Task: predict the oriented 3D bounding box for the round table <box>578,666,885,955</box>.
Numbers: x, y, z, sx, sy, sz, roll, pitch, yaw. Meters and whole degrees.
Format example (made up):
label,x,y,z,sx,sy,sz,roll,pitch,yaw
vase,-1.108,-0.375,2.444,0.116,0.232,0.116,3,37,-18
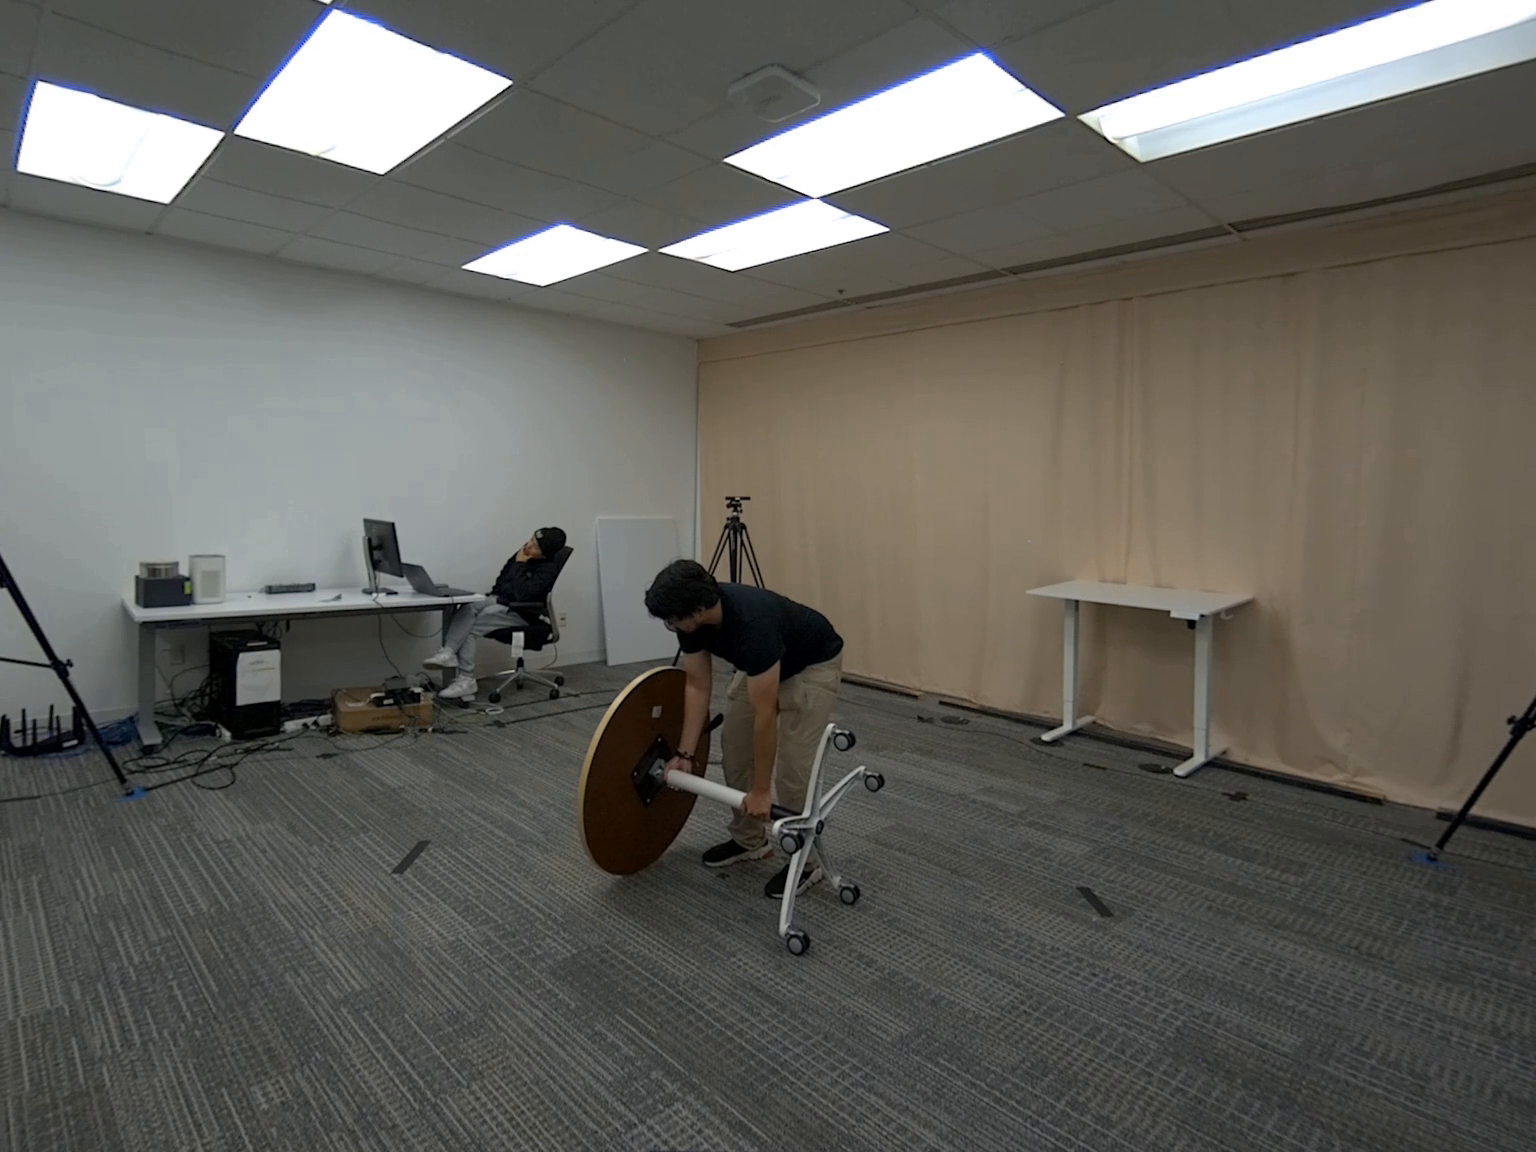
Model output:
label,x,y,z,sx,sy,sz,roll,pitch,yaw
round table,-0.109,0.766,2.914,0.805,0.782,0.770,9,7,30
